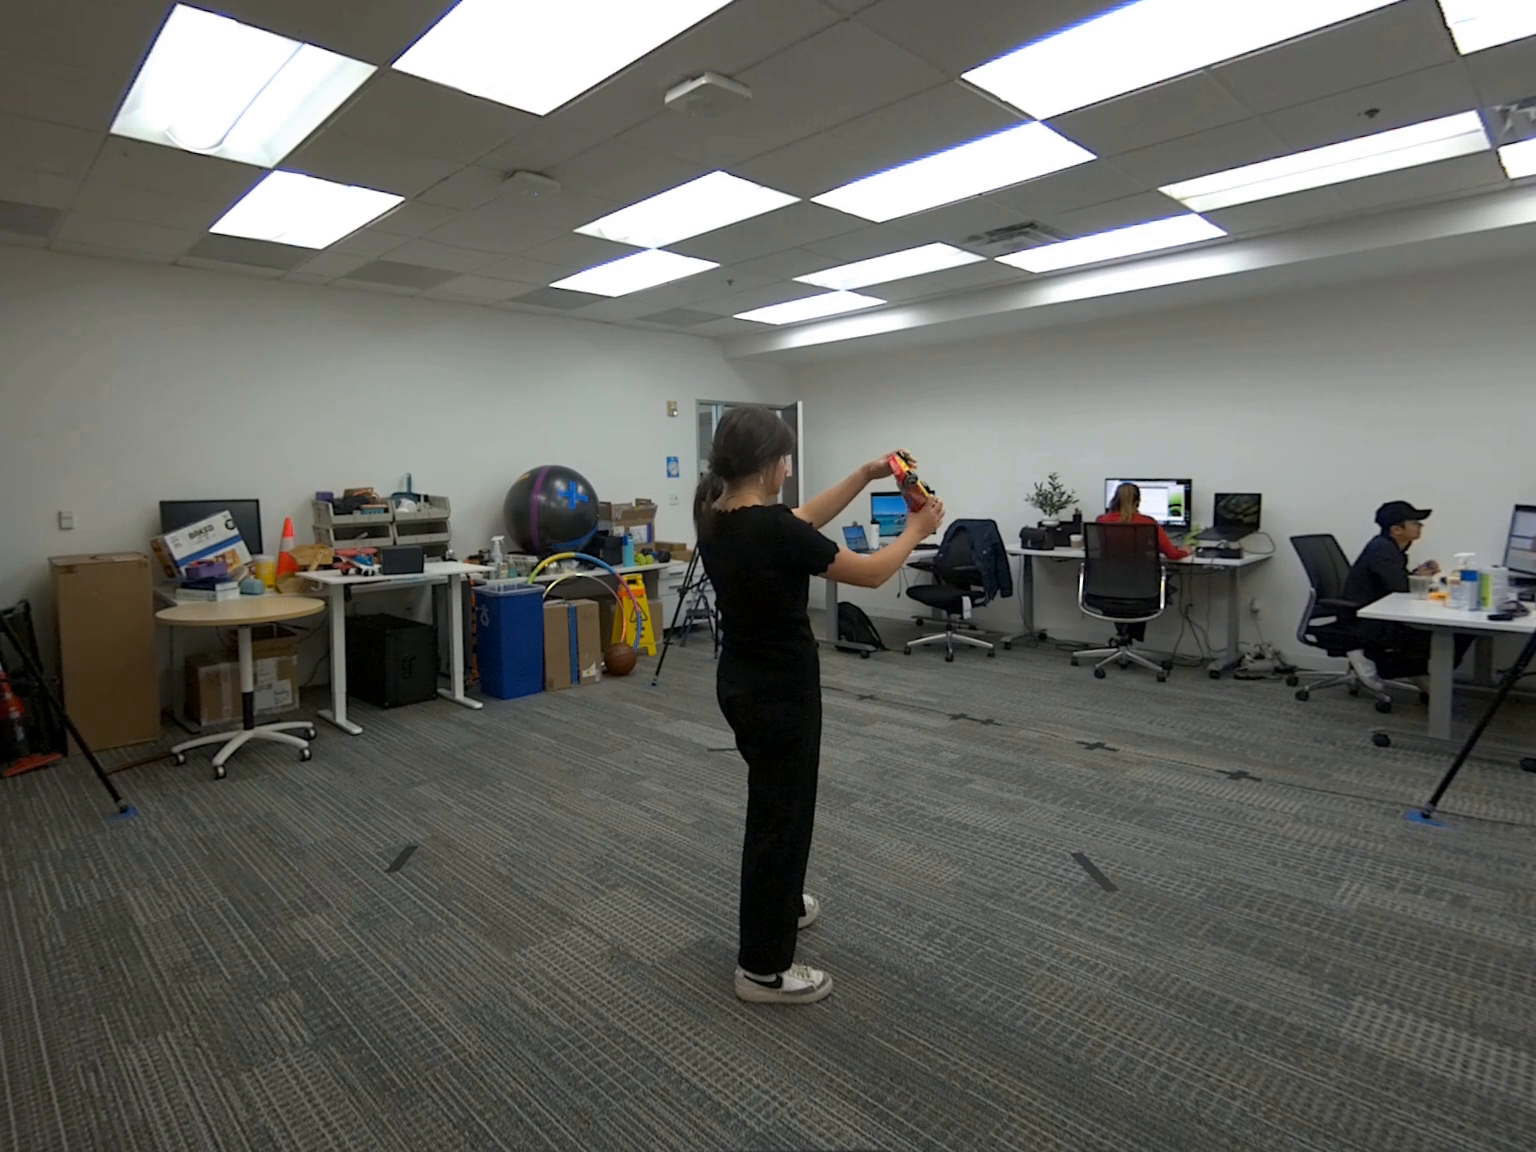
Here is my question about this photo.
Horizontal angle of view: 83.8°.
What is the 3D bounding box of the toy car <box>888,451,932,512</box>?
[{"bbox_3d":[0.423,-0.242,2.416,0.083,0.245,0.135,-26,42,8],"label":"toy car"}]
